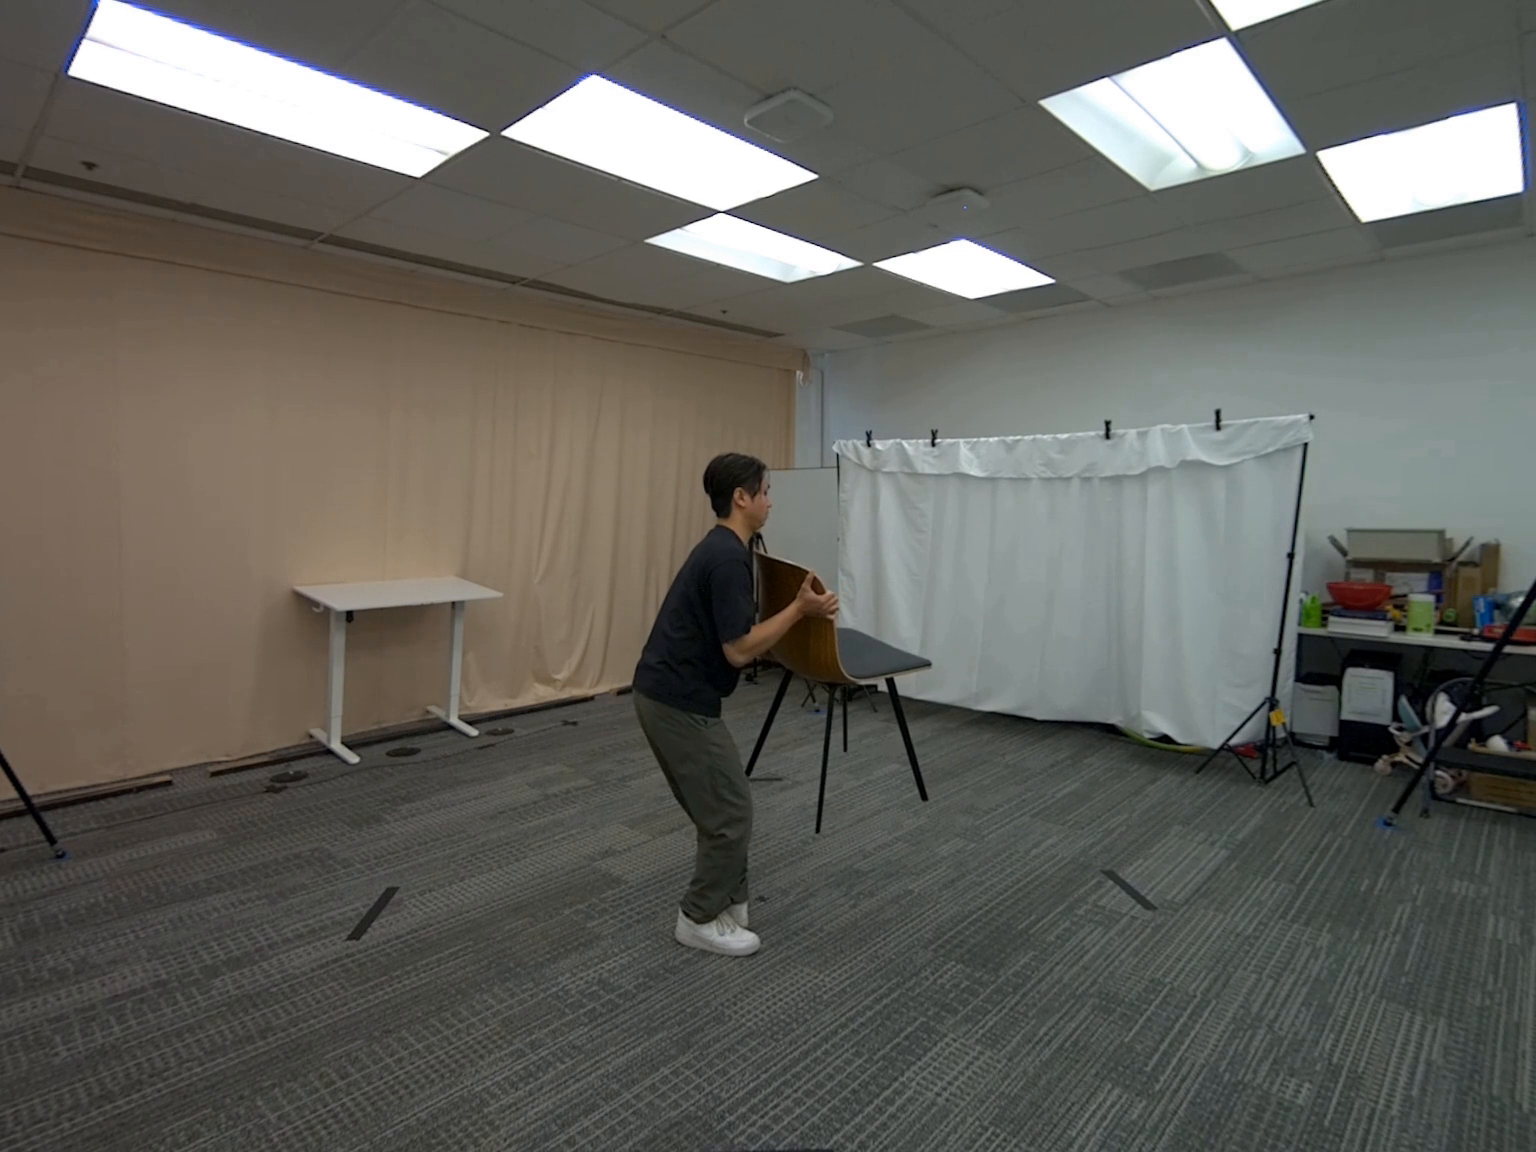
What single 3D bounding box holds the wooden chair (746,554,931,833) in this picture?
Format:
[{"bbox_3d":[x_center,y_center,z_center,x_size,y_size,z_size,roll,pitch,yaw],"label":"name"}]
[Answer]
[{"bbox_3d":[0.241,0.322,2.810,0.510,0.869,0.494,-10,15,-30],"label":"wooden chair"}]
